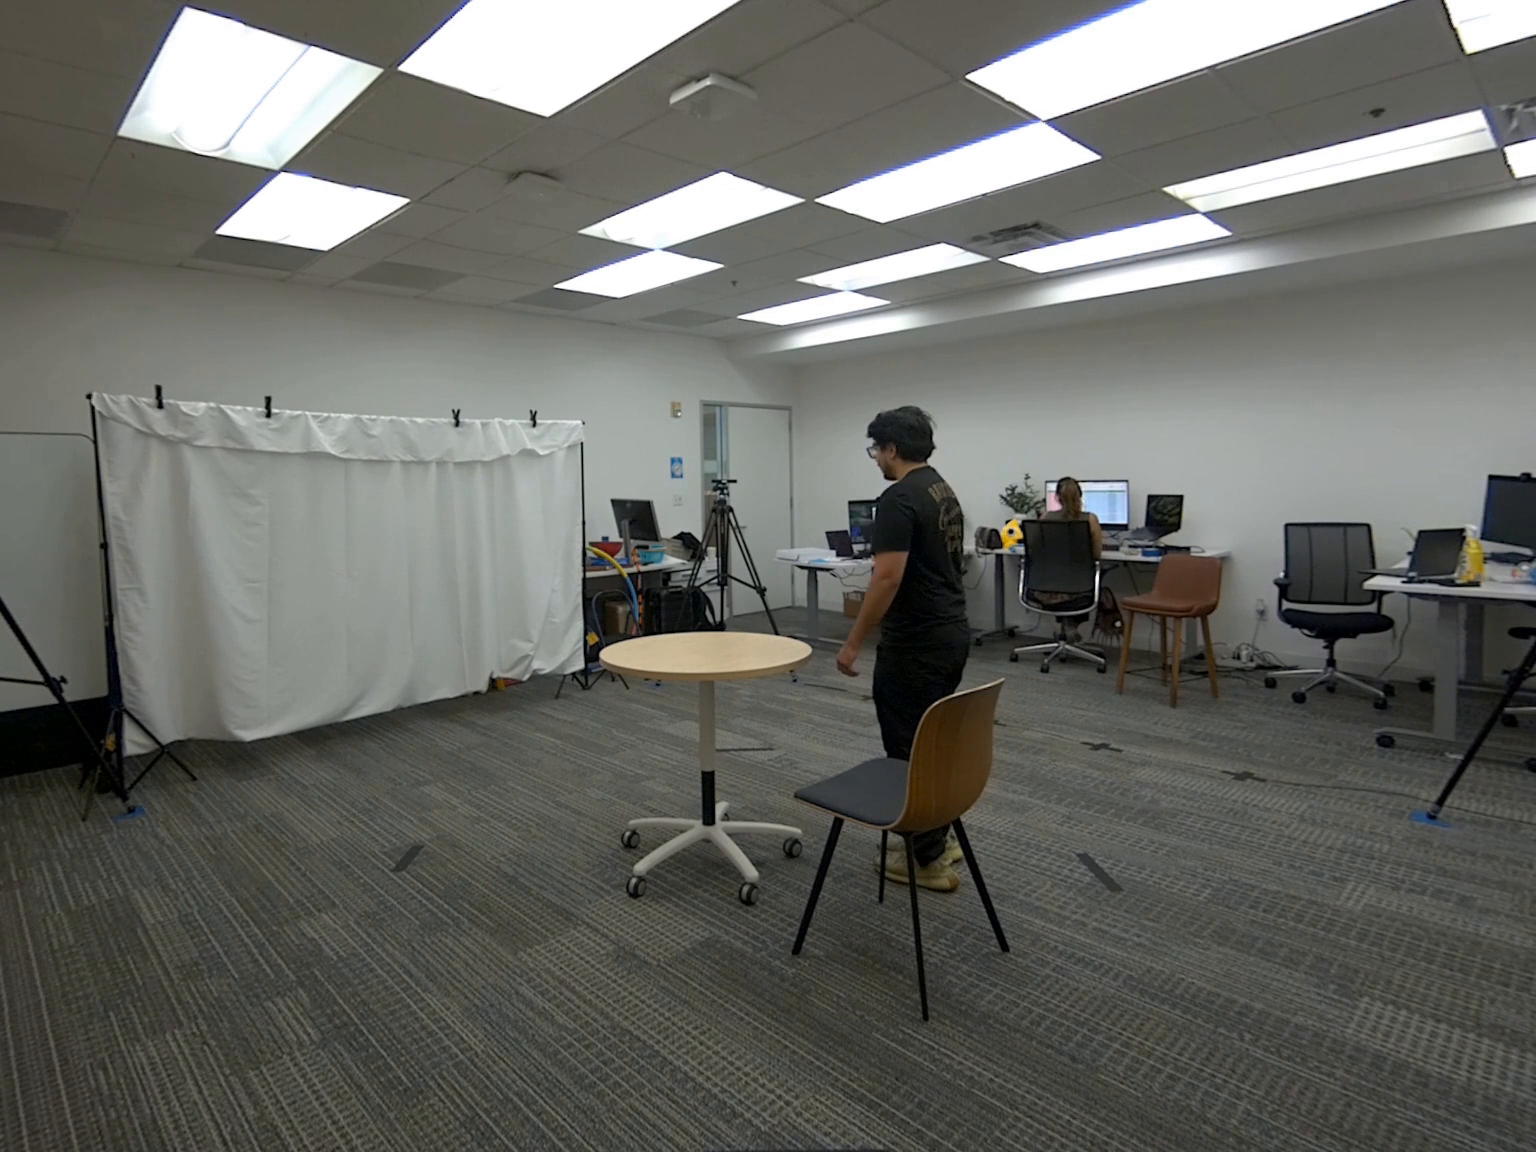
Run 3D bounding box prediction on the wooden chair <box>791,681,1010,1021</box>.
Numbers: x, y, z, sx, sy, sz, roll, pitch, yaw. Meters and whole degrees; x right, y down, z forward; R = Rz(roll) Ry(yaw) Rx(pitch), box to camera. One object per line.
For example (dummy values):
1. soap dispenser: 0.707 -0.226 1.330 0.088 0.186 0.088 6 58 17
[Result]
1. wooden chair: 0.377 0.682 2.480 0.540 0.872 0.466 9 10 43
